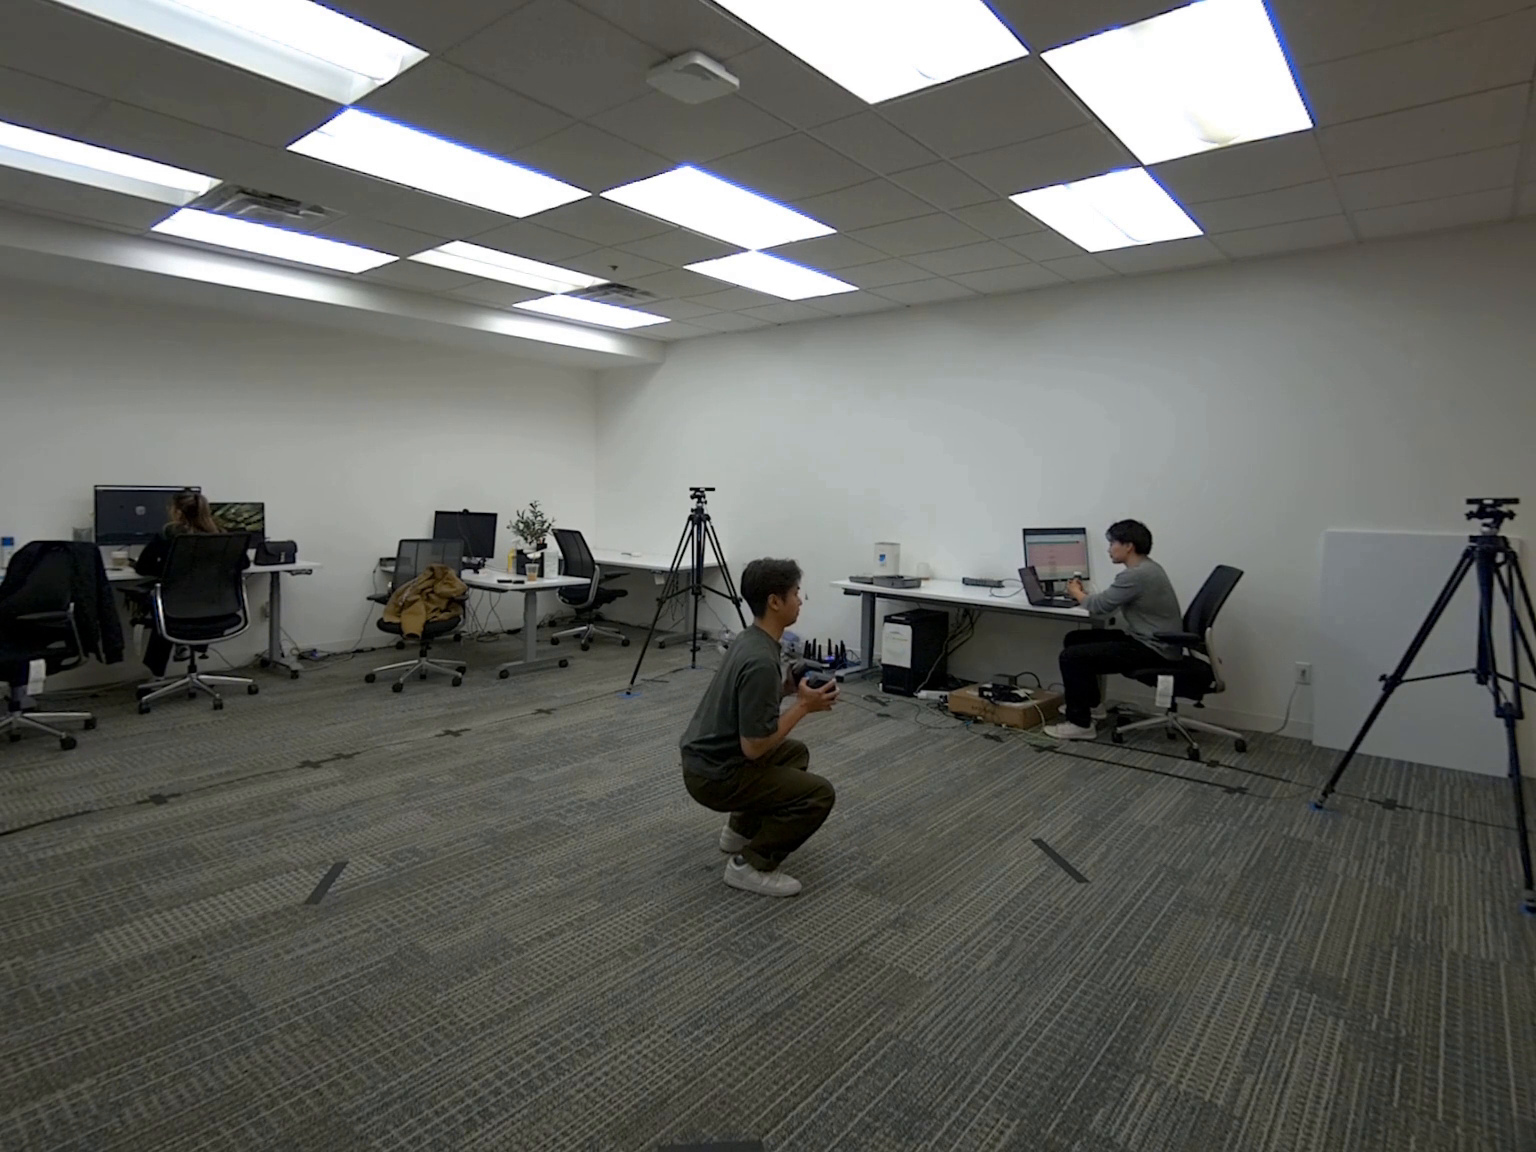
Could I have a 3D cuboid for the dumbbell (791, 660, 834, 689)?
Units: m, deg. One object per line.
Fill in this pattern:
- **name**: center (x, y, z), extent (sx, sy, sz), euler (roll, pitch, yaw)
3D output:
- **dumbbell**: center (0.150, 0.393, 3.127), extent (0.123, 0.107, 0.297), euler (-43, 10, -2)
